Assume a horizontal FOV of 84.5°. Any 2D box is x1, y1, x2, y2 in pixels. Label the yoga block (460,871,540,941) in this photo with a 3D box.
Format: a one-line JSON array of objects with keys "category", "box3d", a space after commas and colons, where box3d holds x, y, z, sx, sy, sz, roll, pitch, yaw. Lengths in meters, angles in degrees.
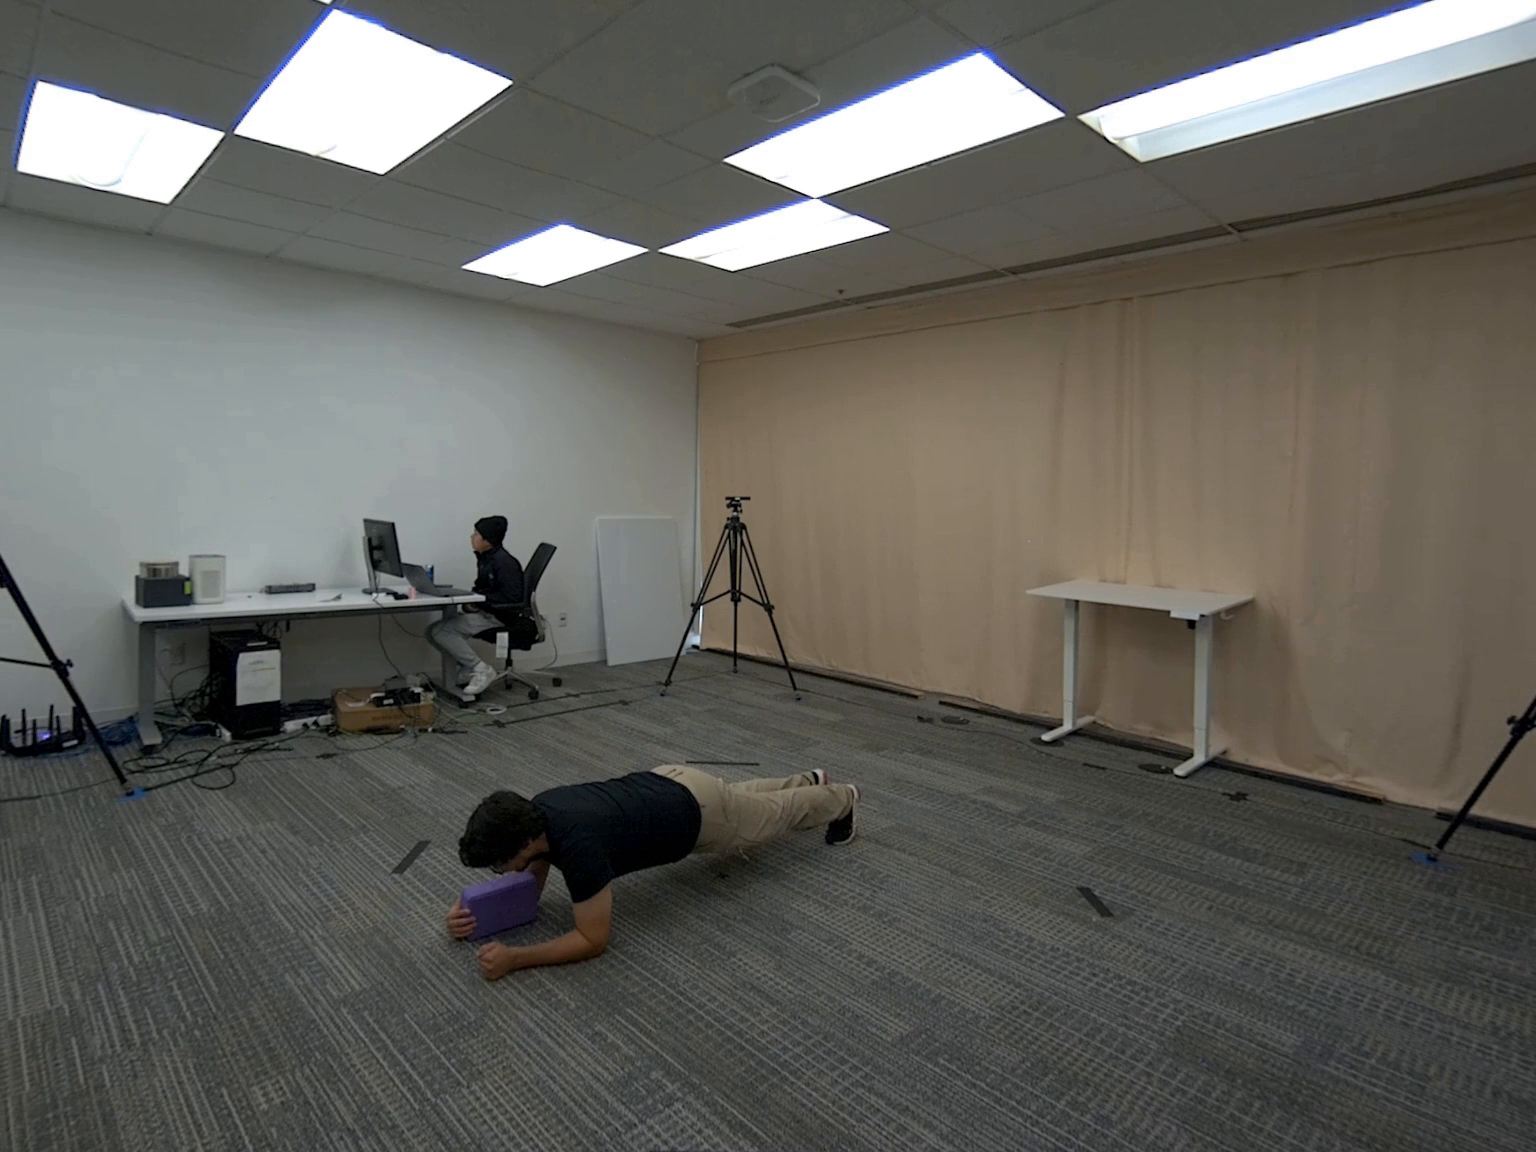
[{"category": "yoga block", "box3d": [-0.867, 1.049, 2.693, 0.224, 0.148, 0.078, -5, 11, -38]}]
